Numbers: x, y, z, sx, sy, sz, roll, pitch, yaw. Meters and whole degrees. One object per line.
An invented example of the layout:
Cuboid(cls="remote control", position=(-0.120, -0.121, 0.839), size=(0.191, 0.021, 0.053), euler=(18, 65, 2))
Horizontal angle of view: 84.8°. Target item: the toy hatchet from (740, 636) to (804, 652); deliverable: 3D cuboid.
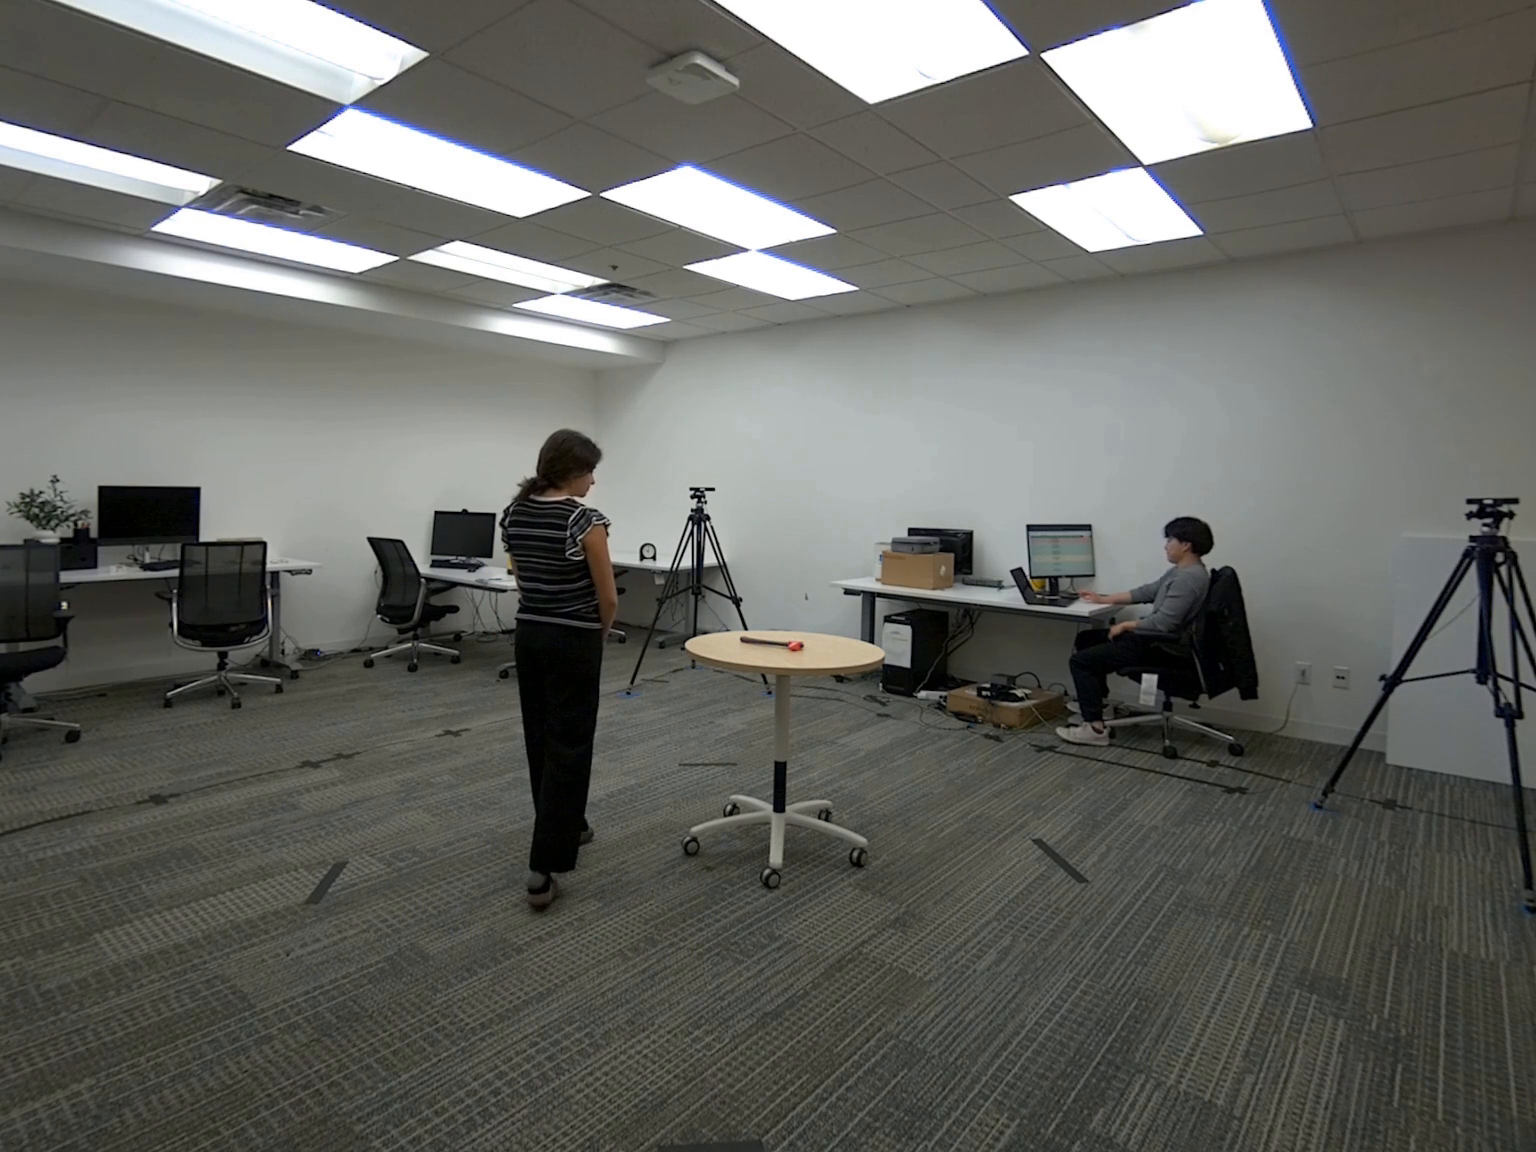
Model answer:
Cuboid(cls="toy hatchet", position=(0.017, 0.255, 3.323), size=(0.279, 0.029, 0.127), euler=(5, 5, 43))
